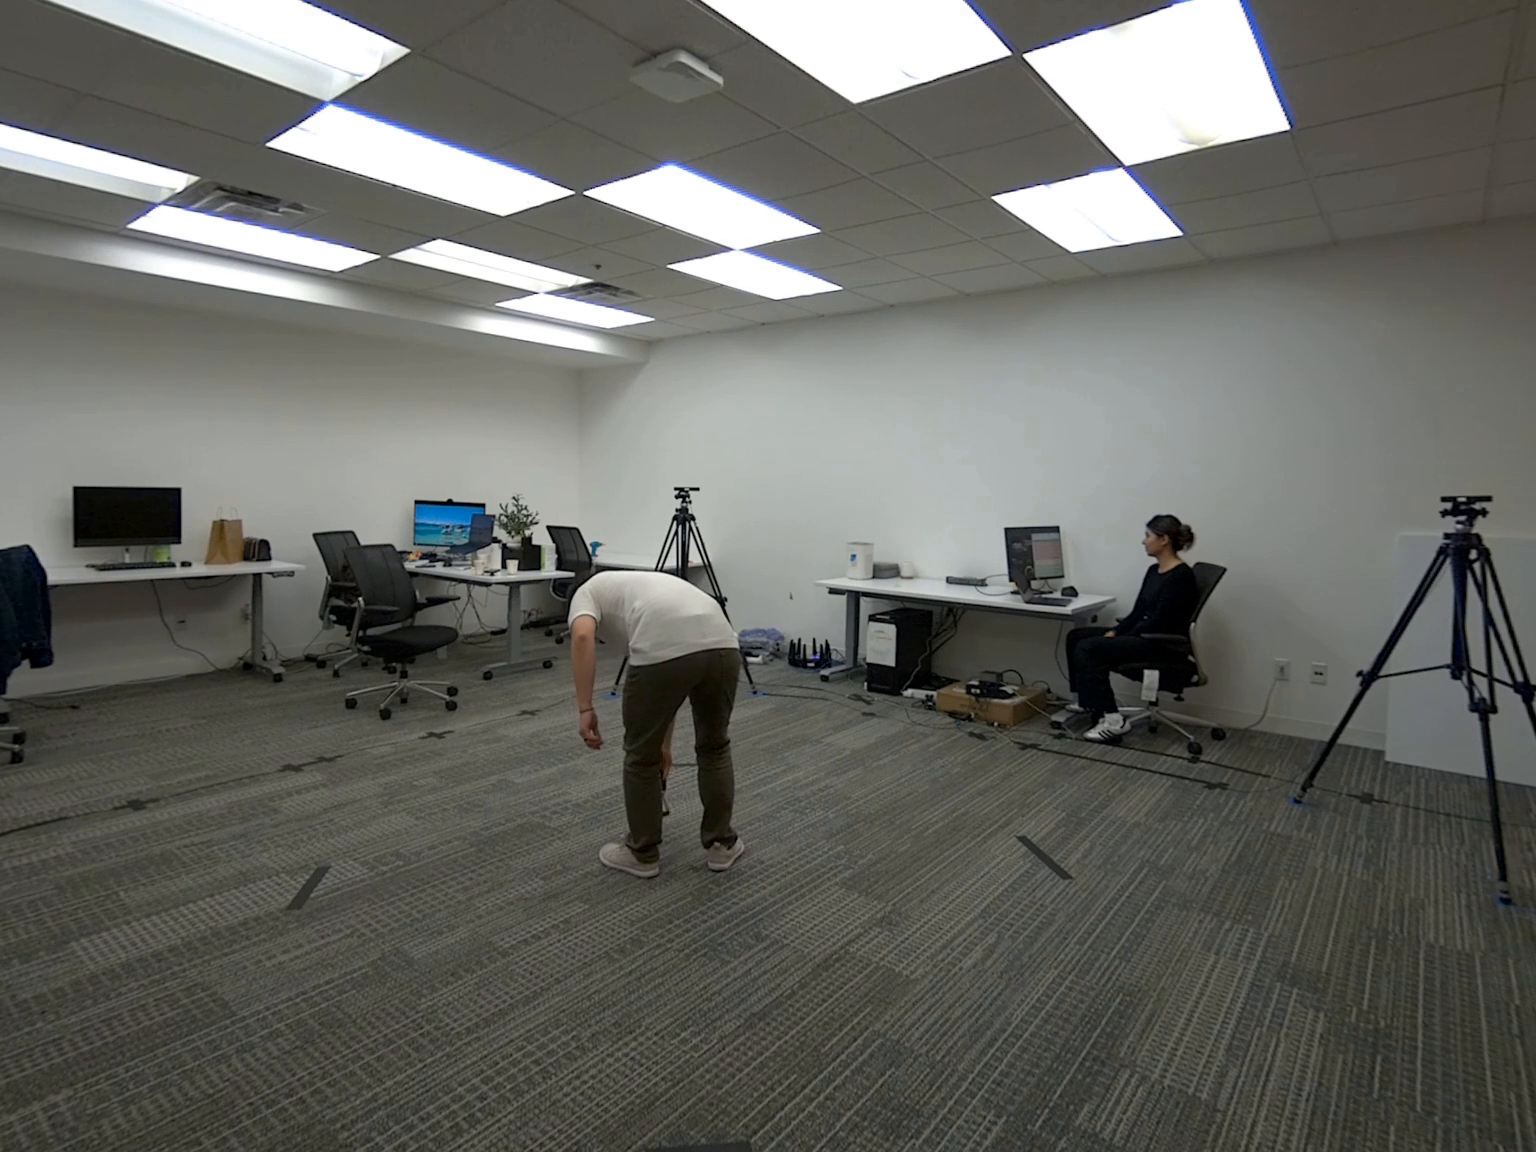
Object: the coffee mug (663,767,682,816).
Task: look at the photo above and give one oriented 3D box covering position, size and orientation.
[{"bbox_3d":[-0.451,0.858,3.422,0.085,0.209,0.122,4,-34,-41],"label":"coffee mug"}]
